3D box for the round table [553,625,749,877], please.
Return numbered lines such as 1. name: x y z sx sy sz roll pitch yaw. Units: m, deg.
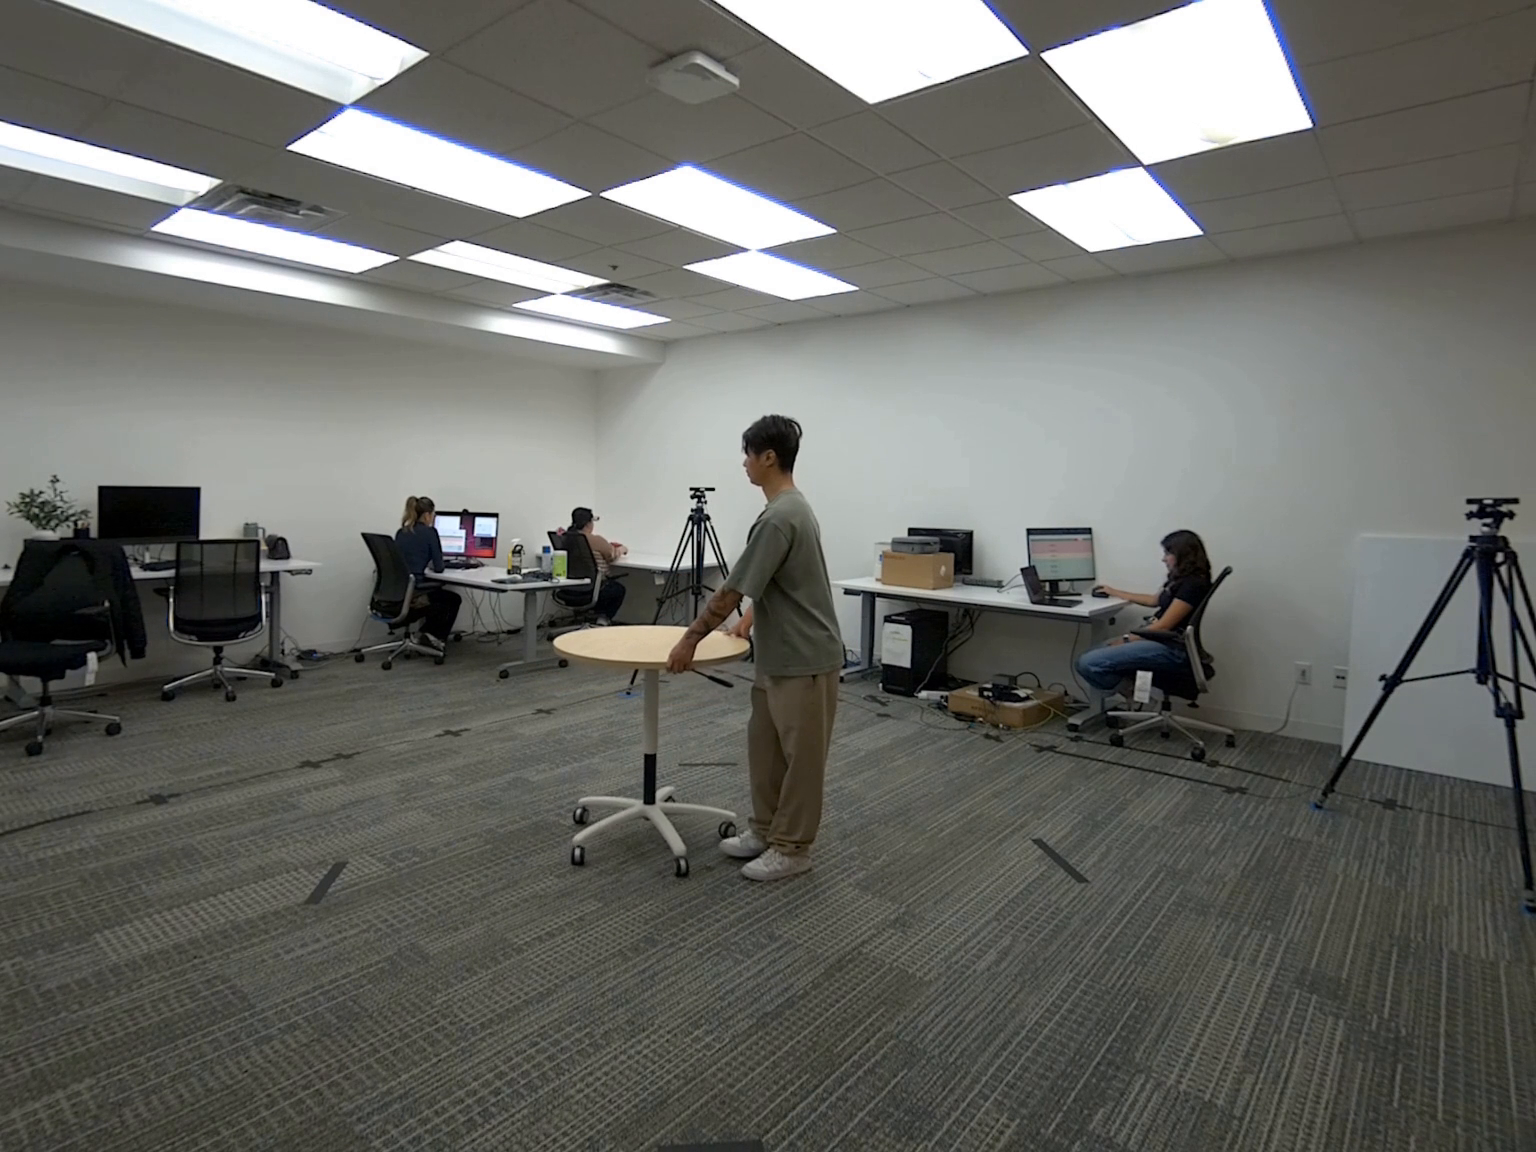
1. round table: -0.486 0.642 3.361 0.784 0.784 0.789 2 4 -2
